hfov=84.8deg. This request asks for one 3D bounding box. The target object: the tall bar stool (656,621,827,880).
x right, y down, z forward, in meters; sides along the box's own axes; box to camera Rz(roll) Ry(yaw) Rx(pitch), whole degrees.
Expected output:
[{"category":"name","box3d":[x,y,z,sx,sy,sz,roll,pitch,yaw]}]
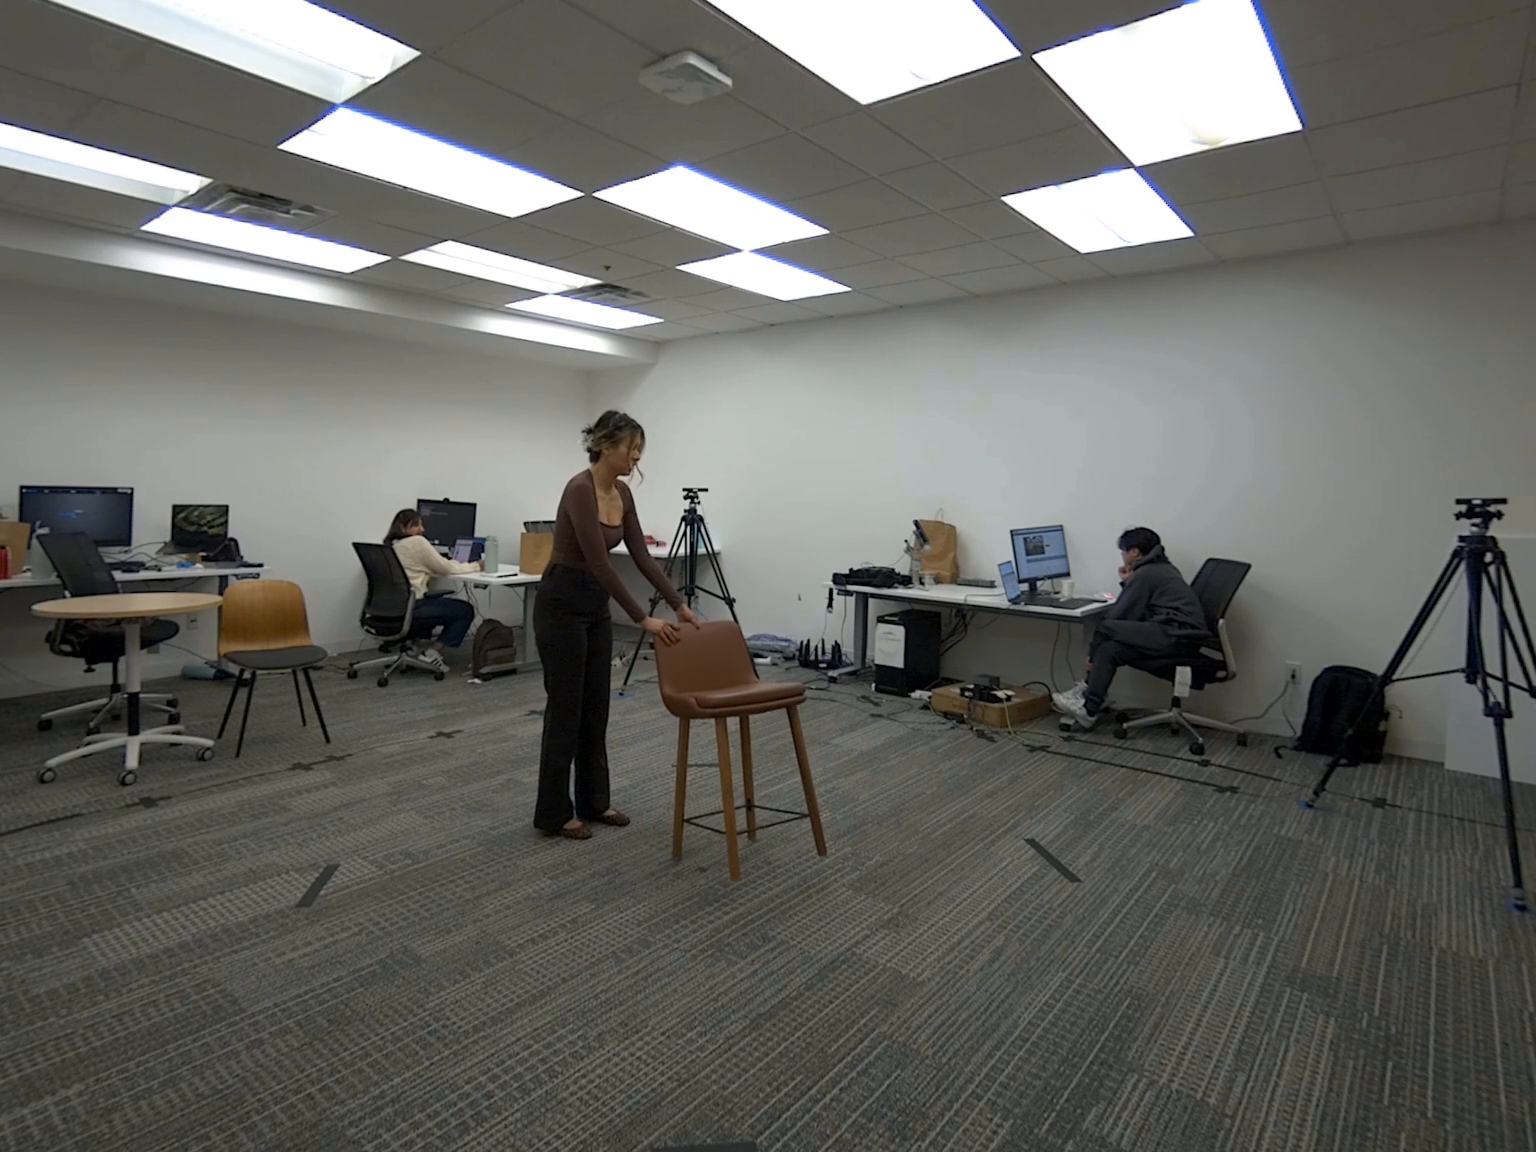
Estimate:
[{"category":"tall bar stool","box3d":[-0.133,0.598,3.175,0.443,0.897,0.477,-1,-9,-35]}]
